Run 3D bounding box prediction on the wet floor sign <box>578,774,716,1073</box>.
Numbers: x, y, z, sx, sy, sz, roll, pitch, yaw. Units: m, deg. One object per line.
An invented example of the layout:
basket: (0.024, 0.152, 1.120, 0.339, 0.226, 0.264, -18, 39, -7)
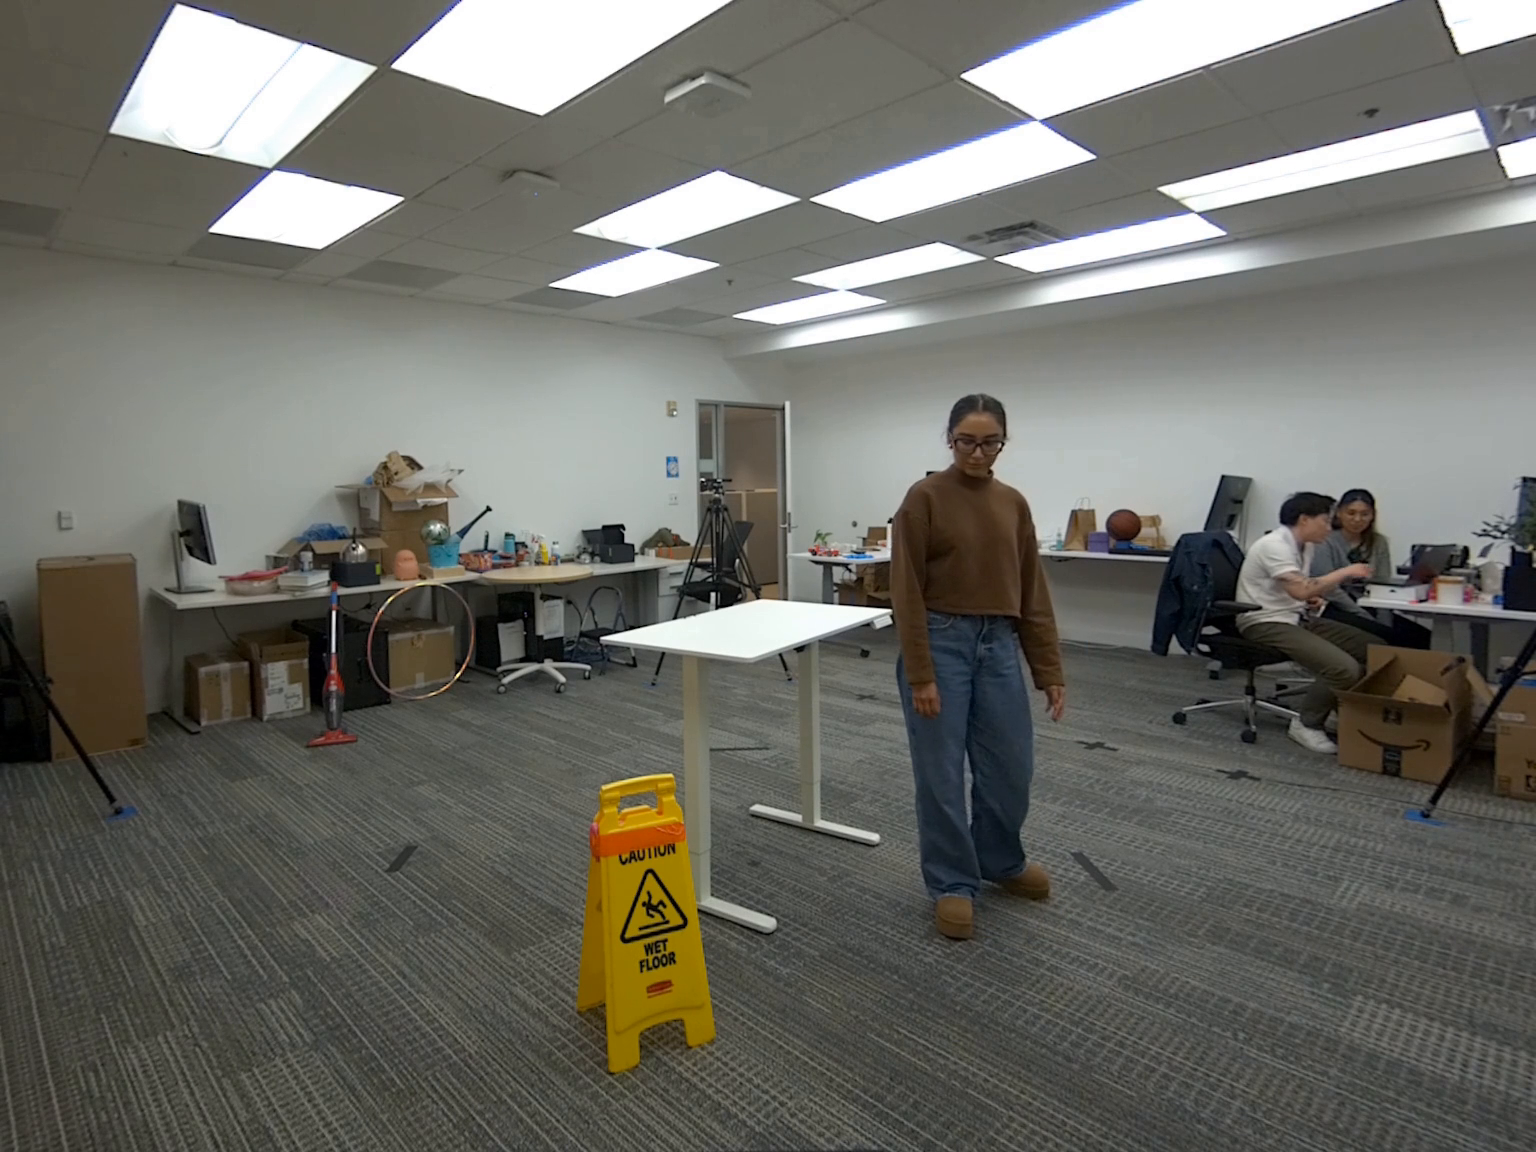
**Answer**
wet floor sign: (-0.318, 0.839, 2.175, 0.276, 0.643, 0.297, -3, 5, -27)
